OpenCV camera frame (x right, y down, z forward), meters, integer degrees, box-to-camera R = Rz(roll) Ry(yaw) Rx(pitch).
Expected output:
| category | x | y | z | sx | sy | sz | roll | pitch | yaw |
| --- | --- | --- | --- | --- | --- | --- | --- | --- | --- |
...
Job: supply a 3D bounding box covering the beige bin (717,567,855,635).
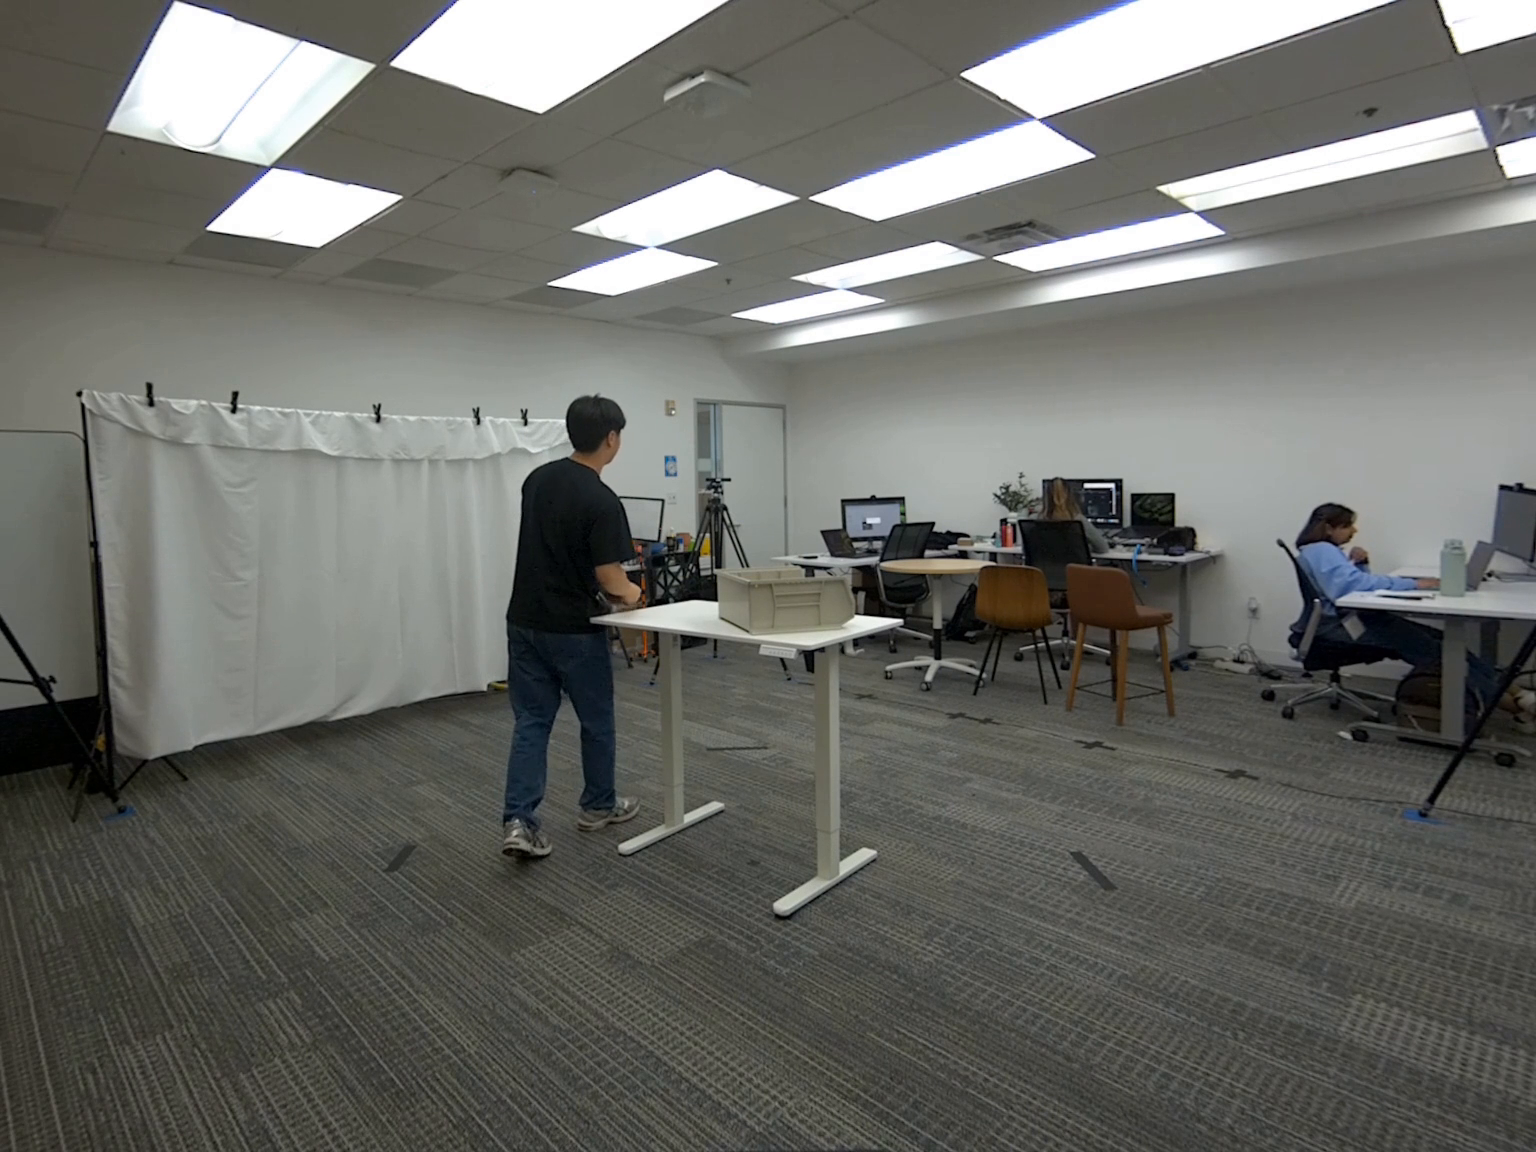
| category | x | y | z | sx | sy | sz | roll | pitch | yaw |
| --- | --- | --- | --- | --- | --- | --- | --- | --- | --- |
| beige bin | 0.048 | 0.082 | 2.996 | 0.371 | 0.188 | 0.431 | -3 | 6 | -18 |
